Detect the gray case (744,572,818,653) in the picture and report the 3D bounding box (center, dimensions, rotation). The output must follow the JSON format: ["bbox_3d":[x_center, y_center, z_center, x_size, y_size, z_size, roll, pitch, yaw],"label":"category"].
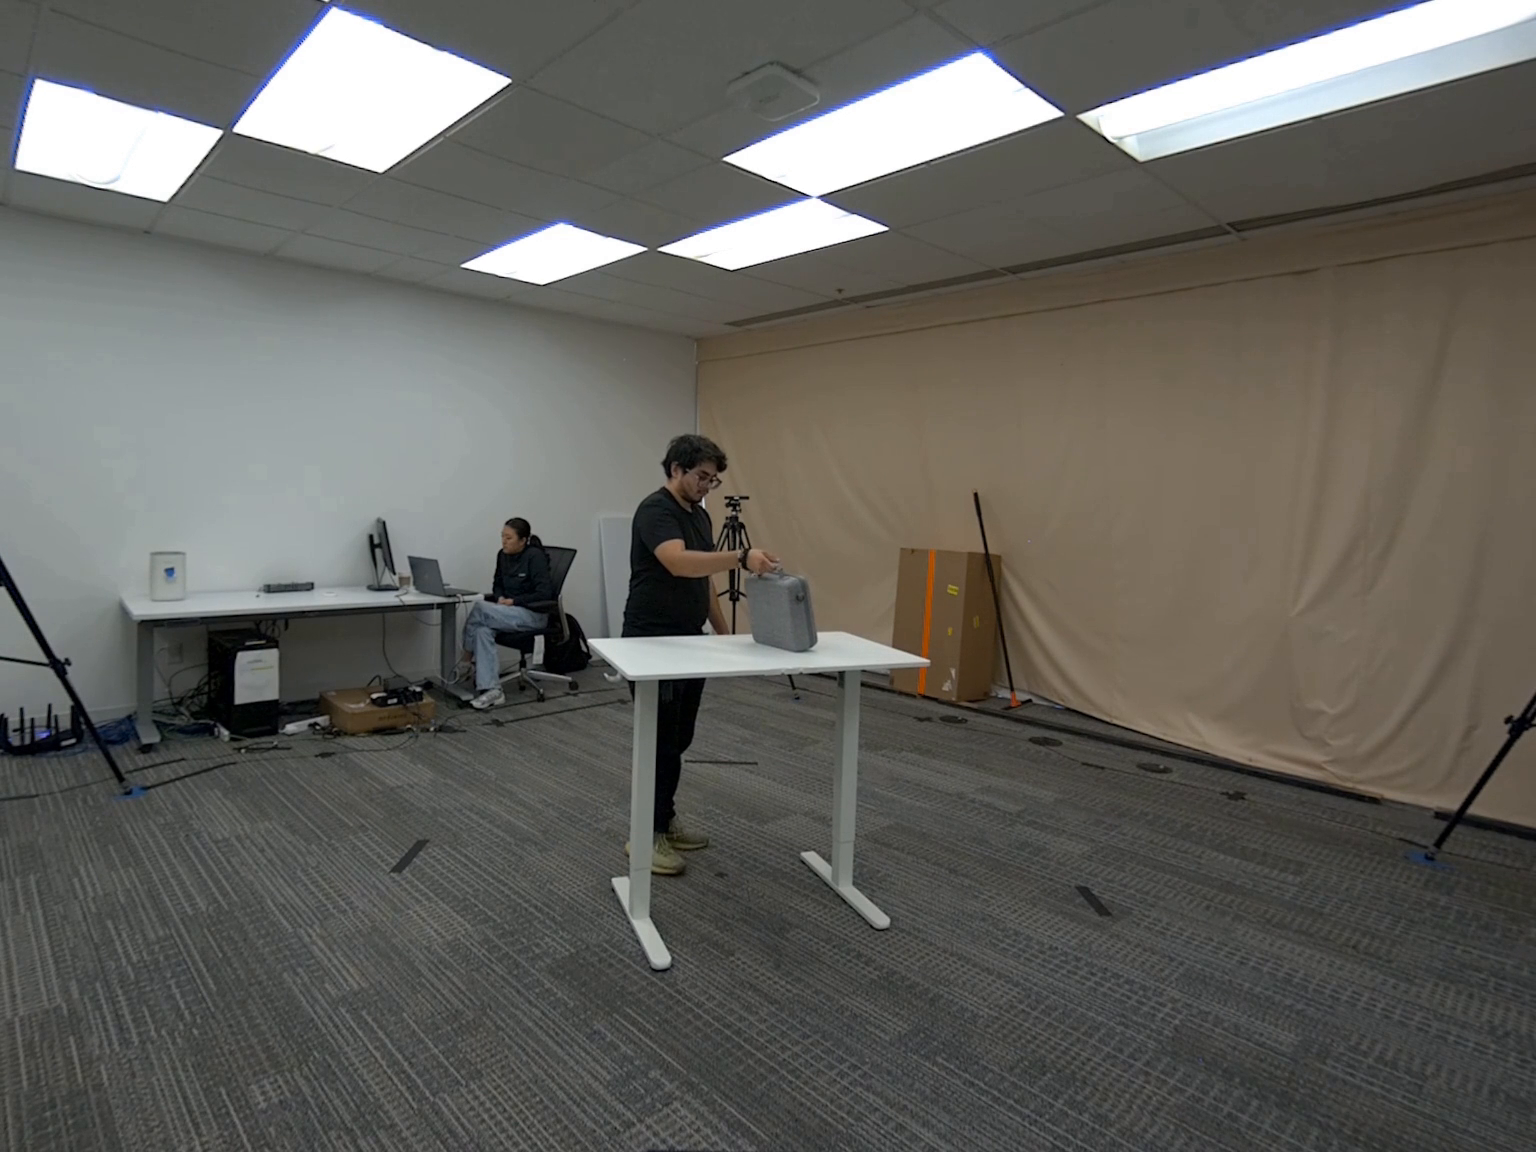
[{"bbox_3d":[0.037,0.116,2.881,0.103,0.258,0.263,-16,13,-34],"label":"gray case"}]
